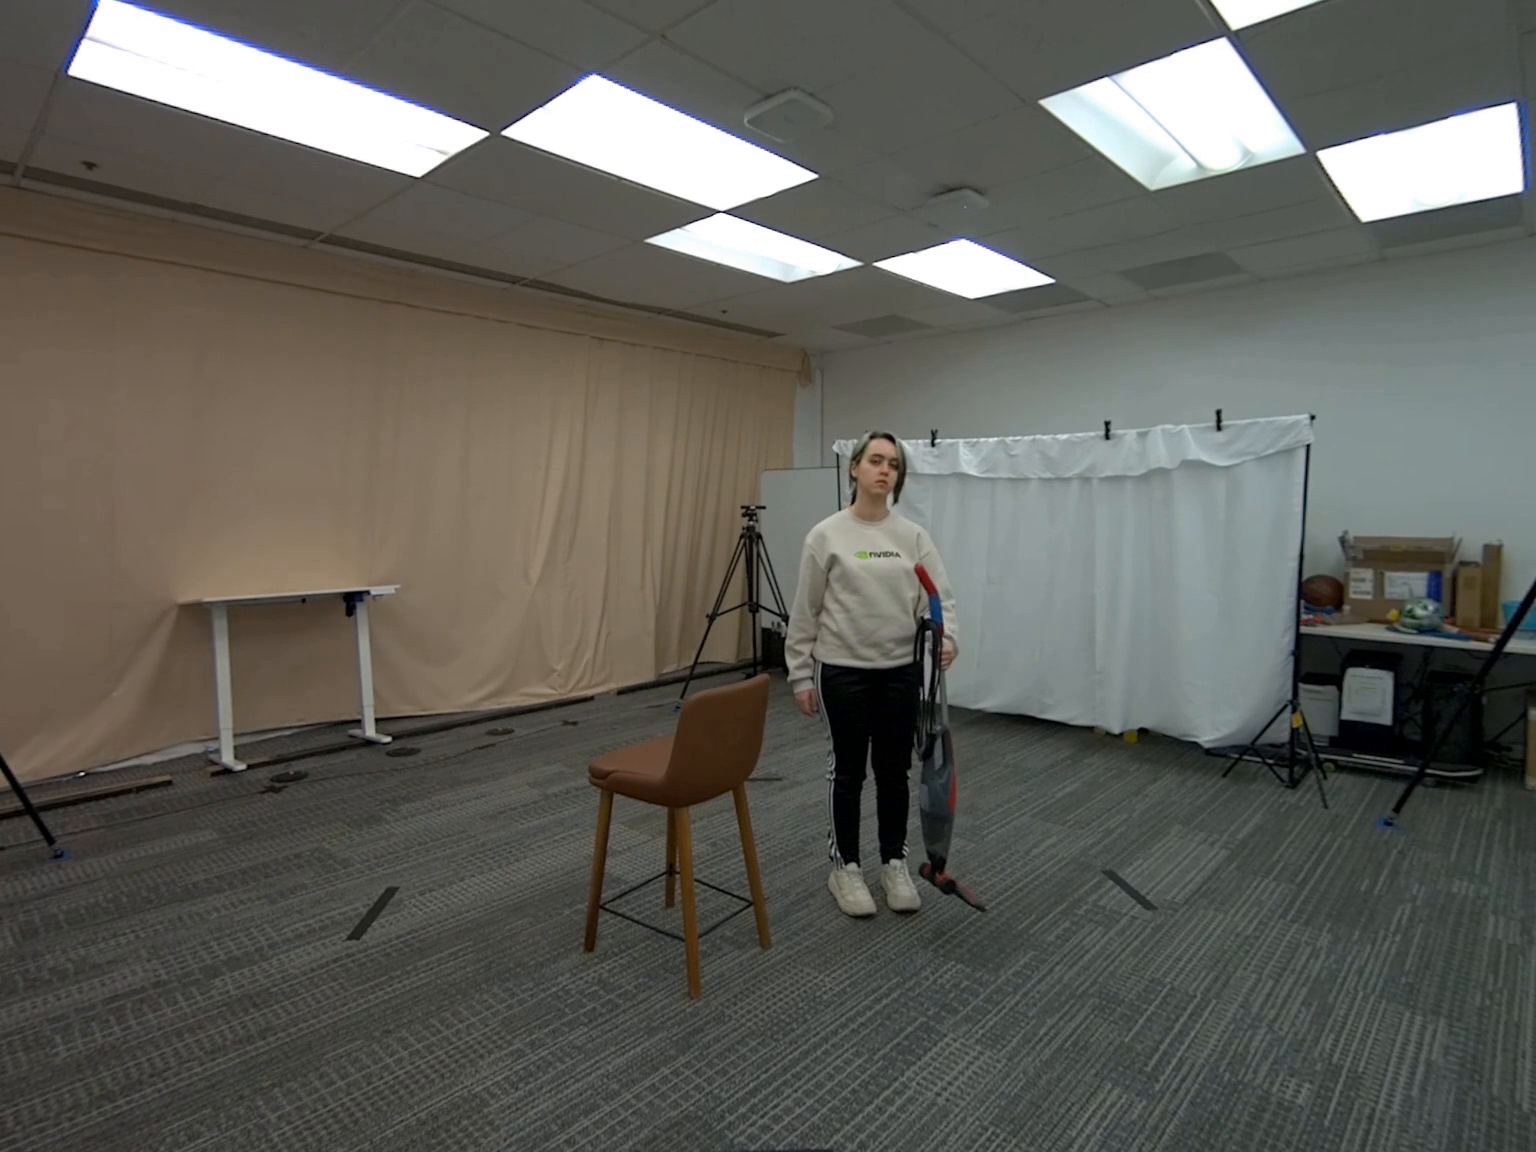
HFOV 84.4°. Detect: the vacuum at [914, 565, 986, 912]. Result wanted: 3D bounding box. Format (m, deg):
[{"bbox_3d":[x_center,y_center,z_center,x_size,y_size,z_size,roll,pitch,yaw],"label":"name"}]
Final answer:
[{"bbox_3d":[0.525,0.482,2.657,0.141,1.043,0.259,-10,8,-23],"label":"vacuum"}]
